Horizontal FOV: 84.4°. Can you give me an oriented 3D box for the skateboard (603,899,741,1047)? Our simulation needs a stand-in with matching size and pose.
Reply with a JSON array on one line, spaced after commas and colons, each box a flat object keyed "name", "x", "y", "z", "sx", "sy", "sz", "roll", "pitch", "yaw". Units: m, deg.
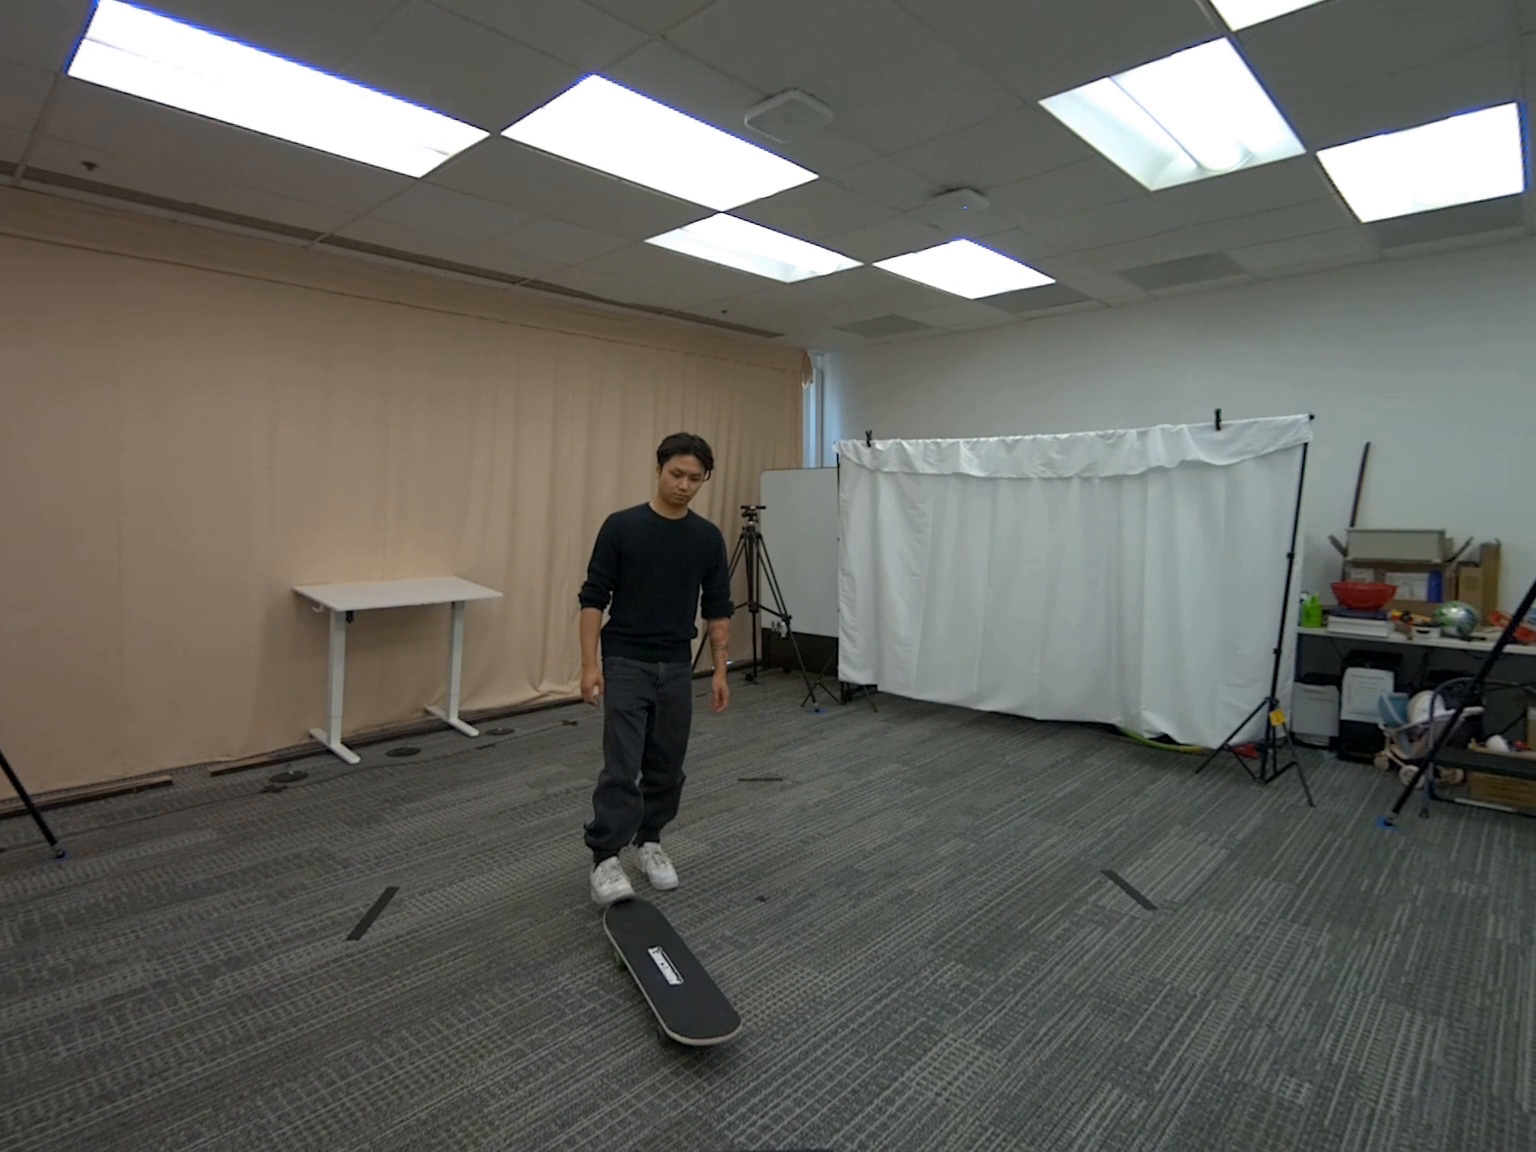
[{"name": "skateboard", "x": -0.292, "y": 1.139, "z": 2.393, "sx": 0.189, "sy": 0.110, "sz": 0.806, "roll": -2, "pitch": 5, "yaw": -26}]
